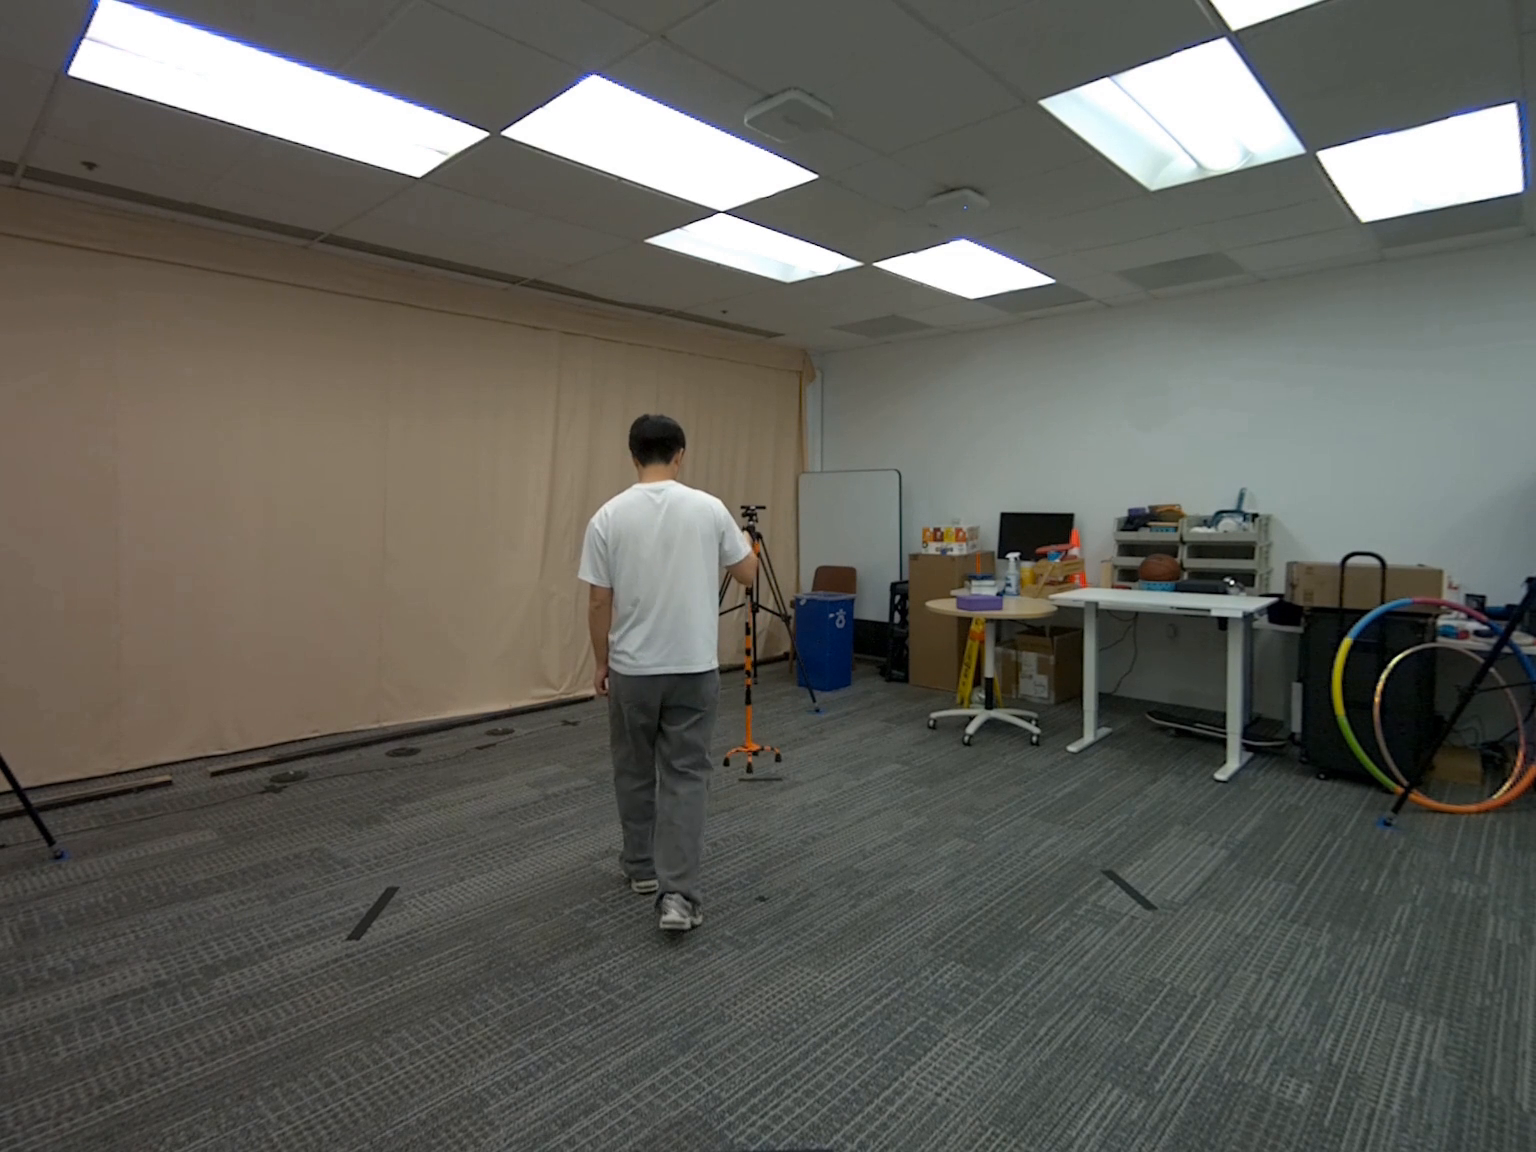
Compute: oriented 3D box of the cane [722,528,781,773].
[{"bbox_3d":[-0.056,0.301,3.334,0.200,0.906,0.156,-1,3,-41],"label":"cane"}]
